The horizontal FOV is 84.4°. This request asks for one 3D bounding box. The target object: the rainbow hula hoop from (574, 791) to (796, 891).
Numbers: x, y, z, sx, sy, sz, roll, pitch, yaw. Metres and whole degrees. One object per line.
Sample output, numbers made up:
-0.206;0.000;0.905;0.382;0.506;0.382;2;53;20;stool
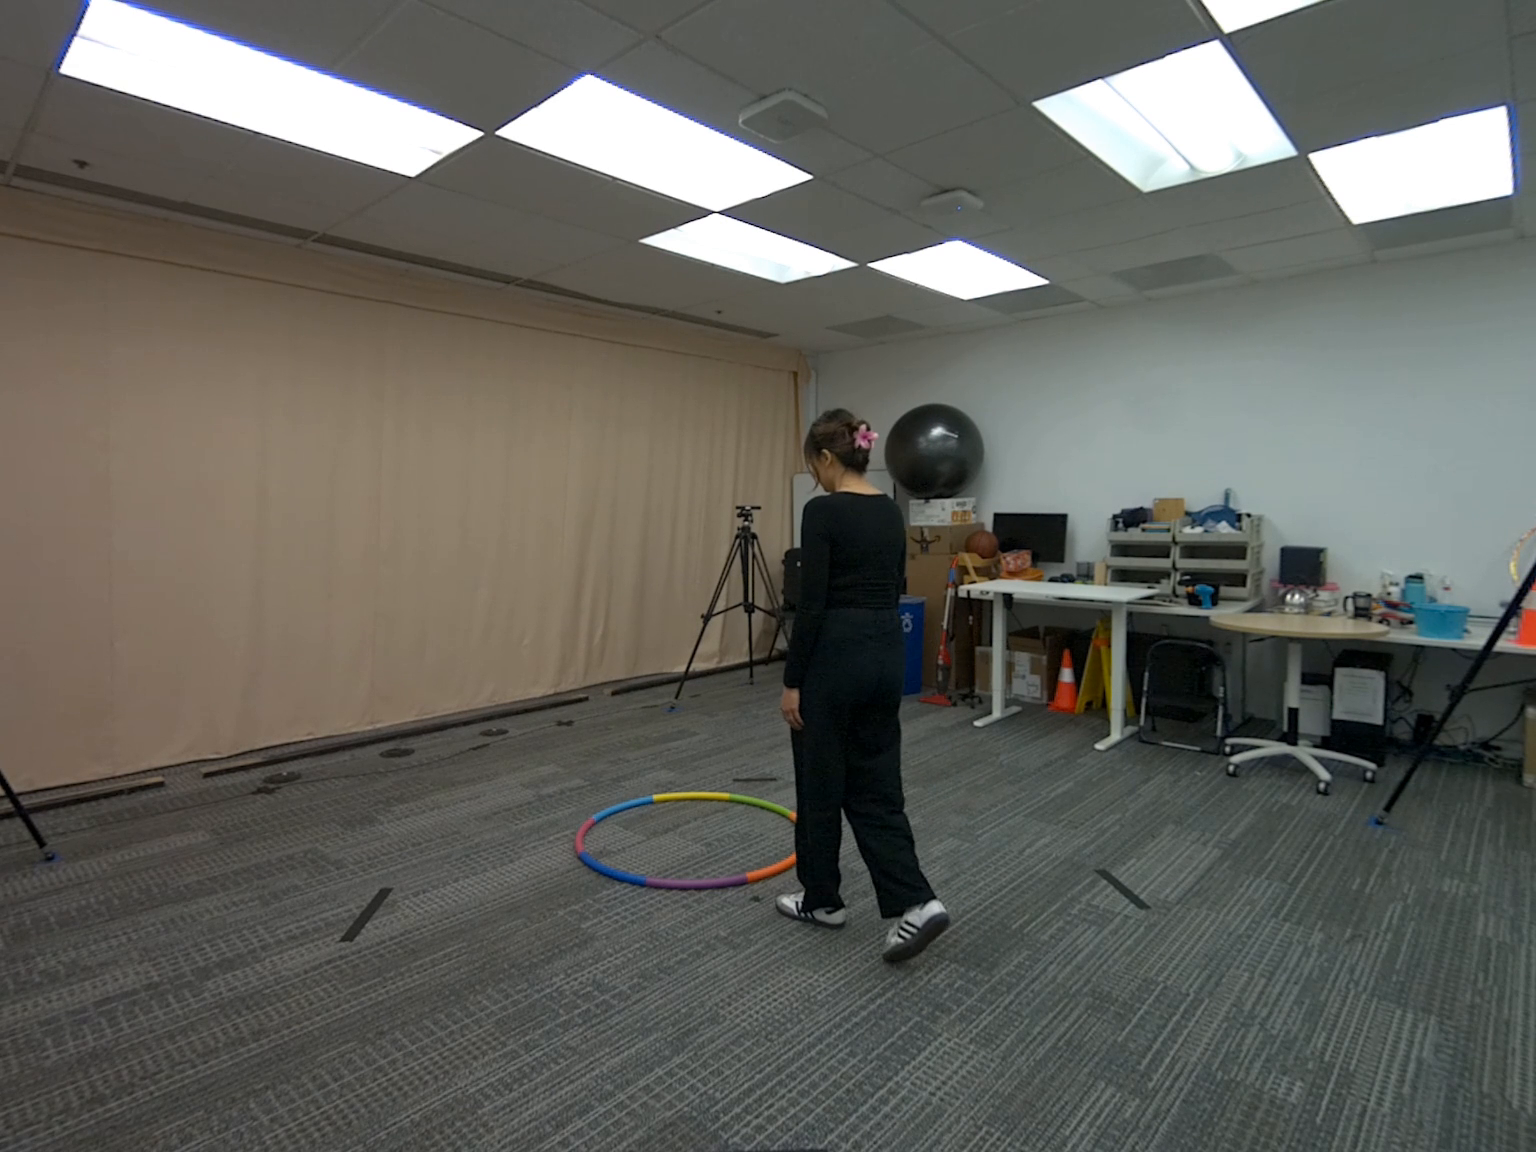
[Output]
-0.312;1.071;3.534;0.978;0.035;0.982;-1;5;-2;rainbow hula hoop
